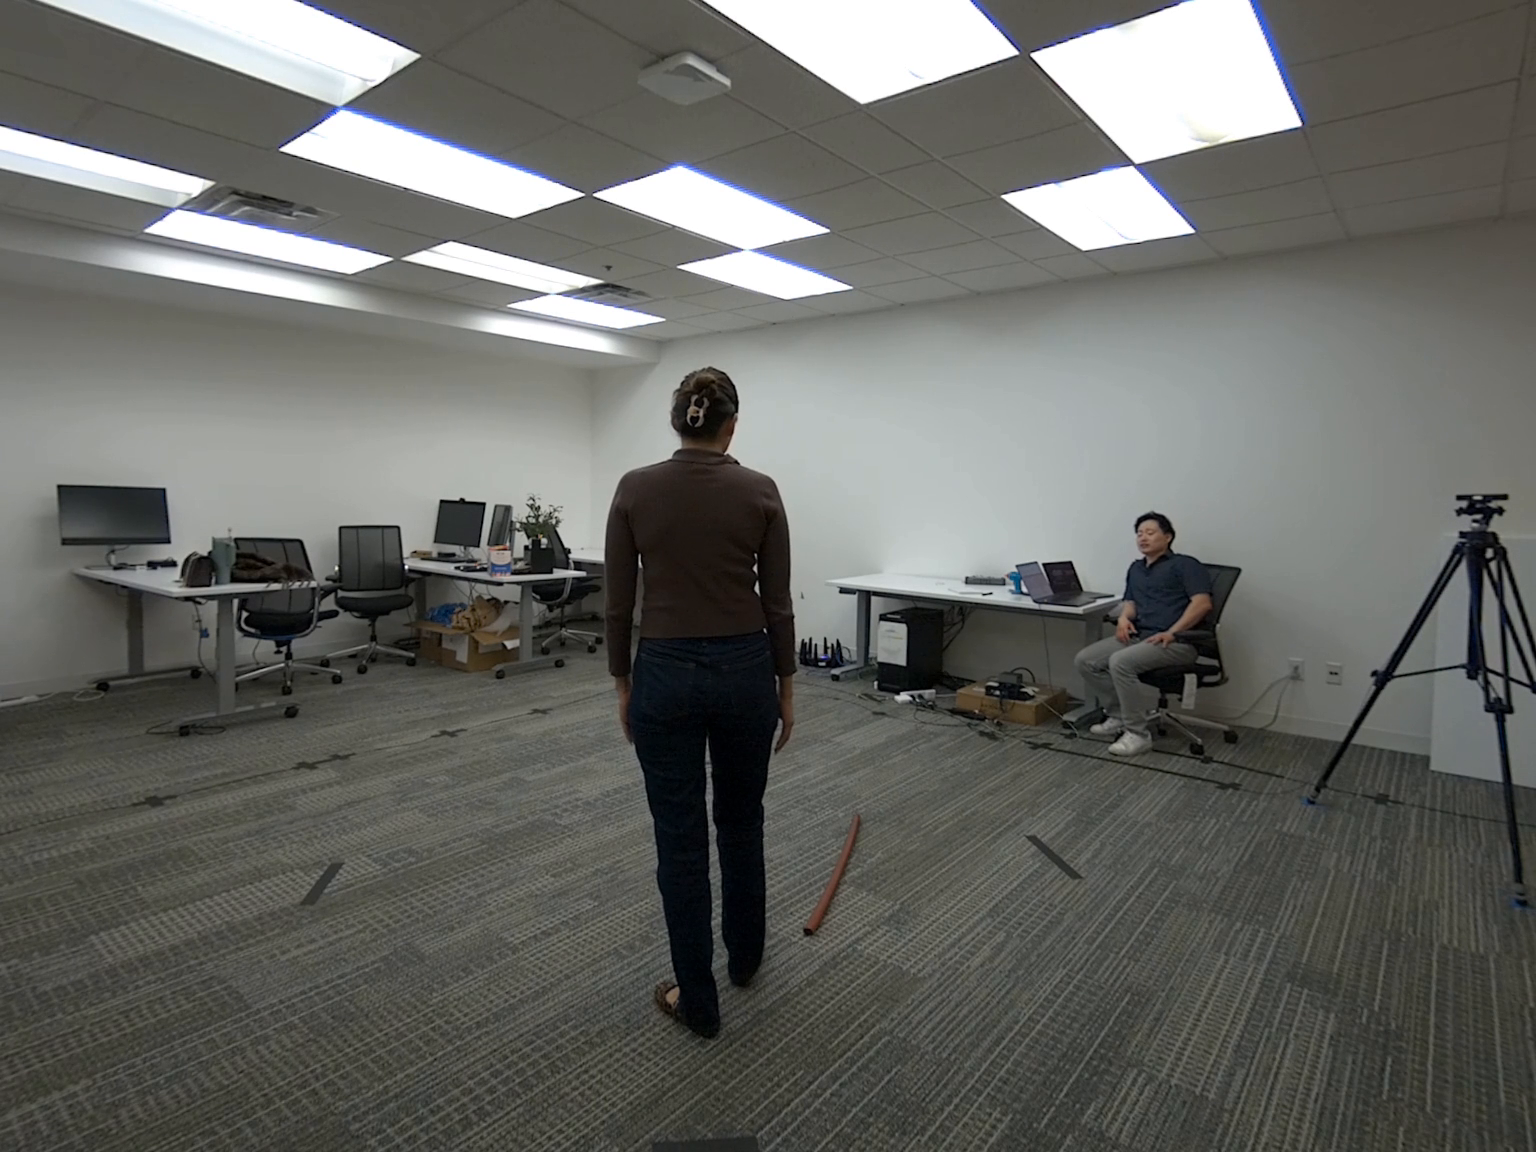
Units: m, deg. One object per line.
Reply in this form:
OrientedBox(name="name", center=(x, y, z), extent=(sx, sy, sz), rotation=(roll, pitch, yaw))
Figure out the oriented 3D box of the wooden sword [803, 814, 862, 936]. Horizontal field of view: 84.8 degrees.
OrientedBox(name="wooden sword", center=(0.251, 1.046, 3.131), extent=(0.052, 0.024, 1.011), rotation=(-3, 4, 14))
